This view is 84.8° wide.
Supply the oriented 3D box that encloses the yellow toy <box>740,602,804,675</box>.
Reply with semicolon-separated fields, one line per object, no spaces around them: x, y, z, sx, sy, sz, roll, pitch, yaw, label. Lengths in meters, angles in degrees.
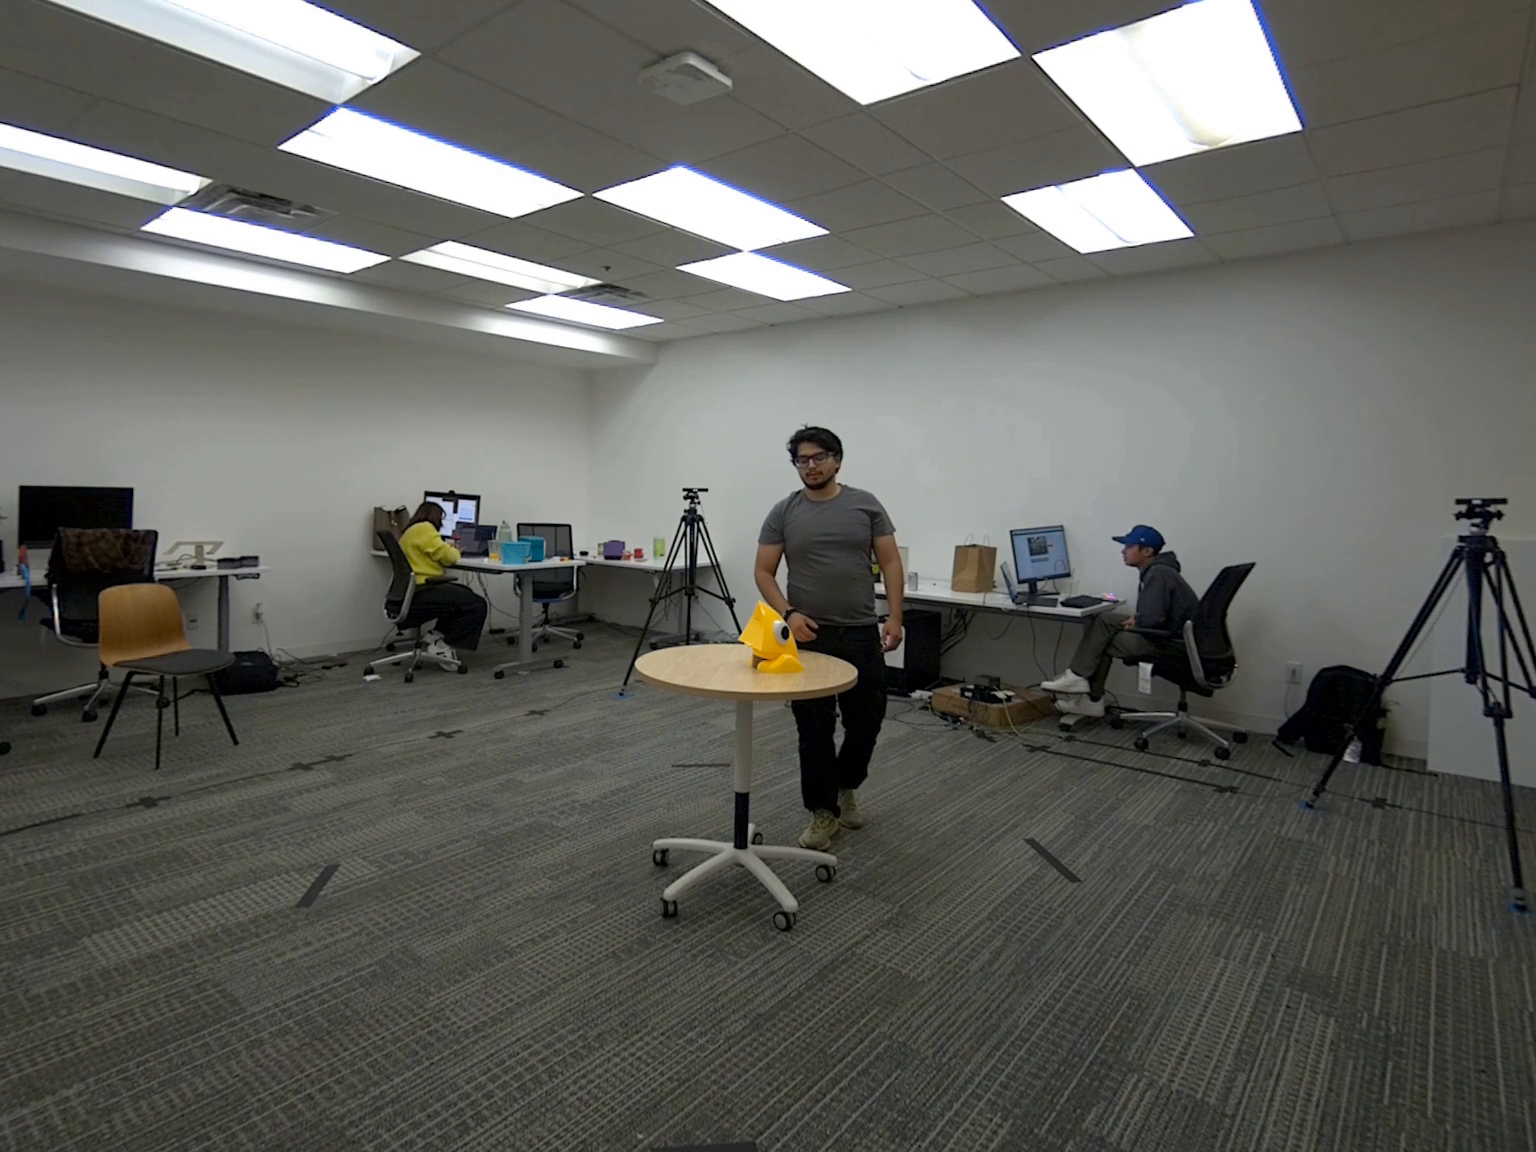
0.007;0.193;2.925;0.189;0.230;0.210;-1;4;-23;yellow toy
